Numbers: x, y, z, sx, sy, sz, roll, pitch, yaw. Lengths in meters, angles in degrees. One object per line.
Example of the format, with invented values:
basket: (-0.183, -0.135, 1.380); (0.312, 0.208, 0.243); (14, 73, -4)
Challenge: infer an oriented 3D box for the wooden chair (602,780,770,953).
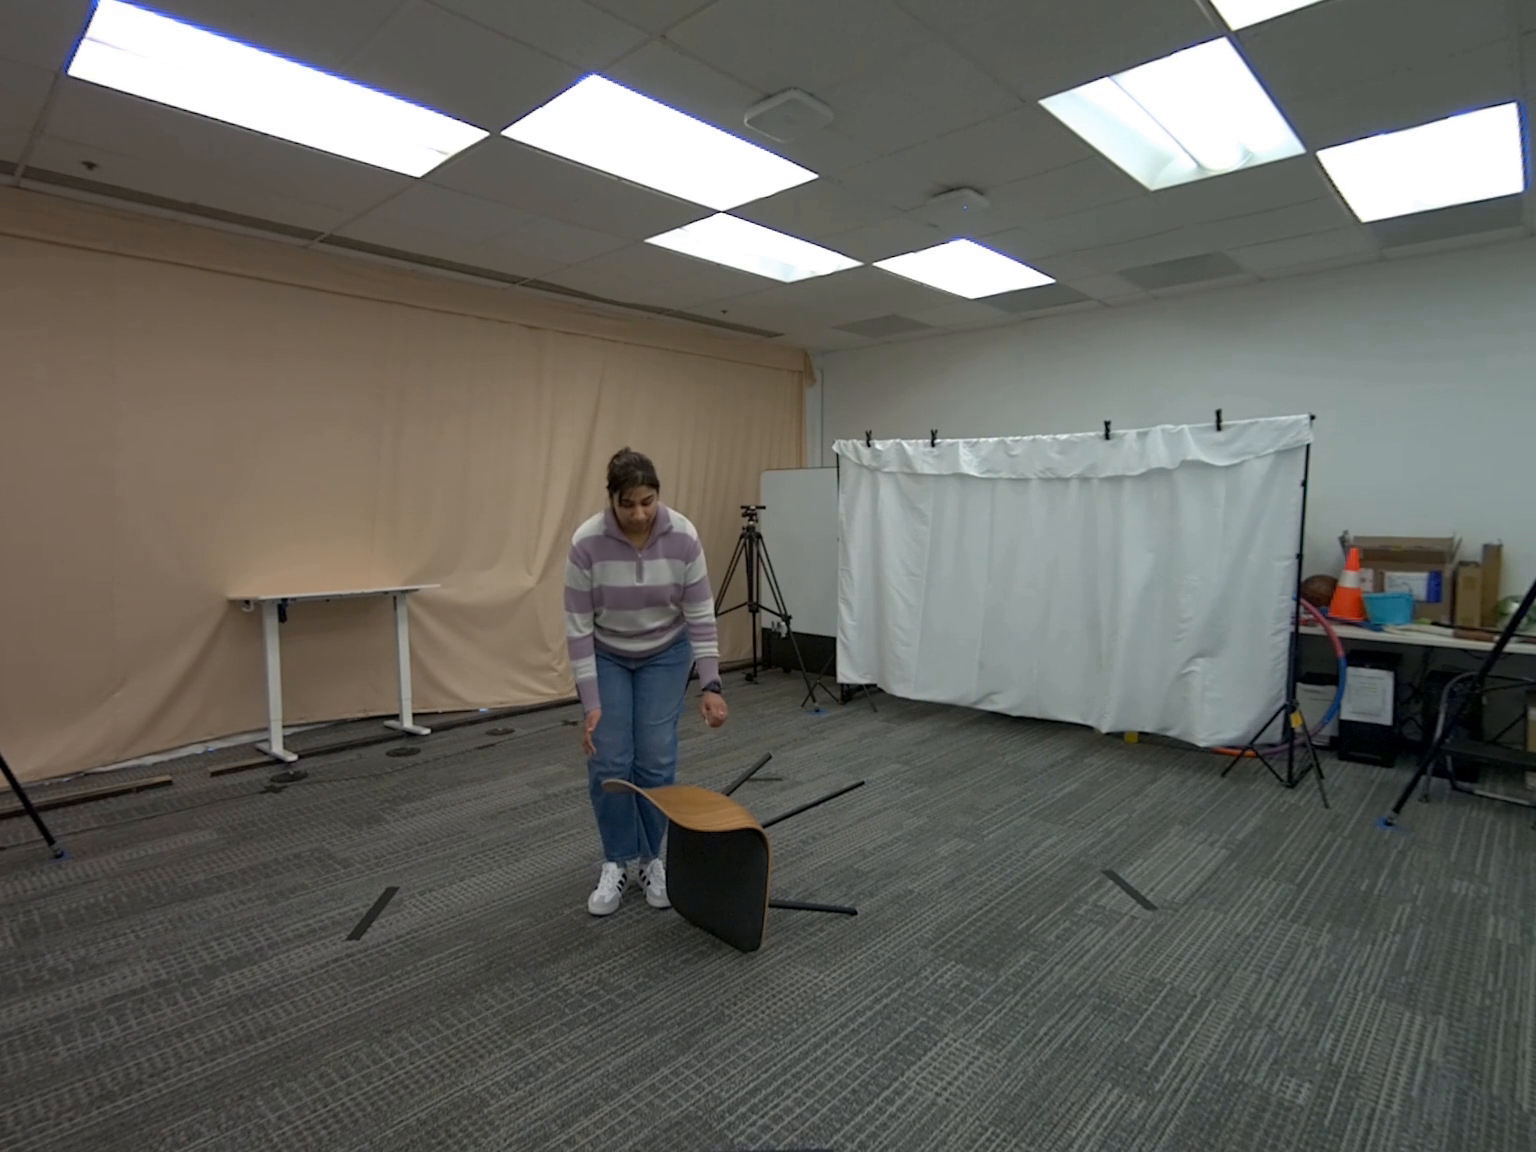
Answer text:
wooden chair: (-0.133, 0.910, 2.738); (0.494, 0.523, 0.847); (5, -2, 45)
